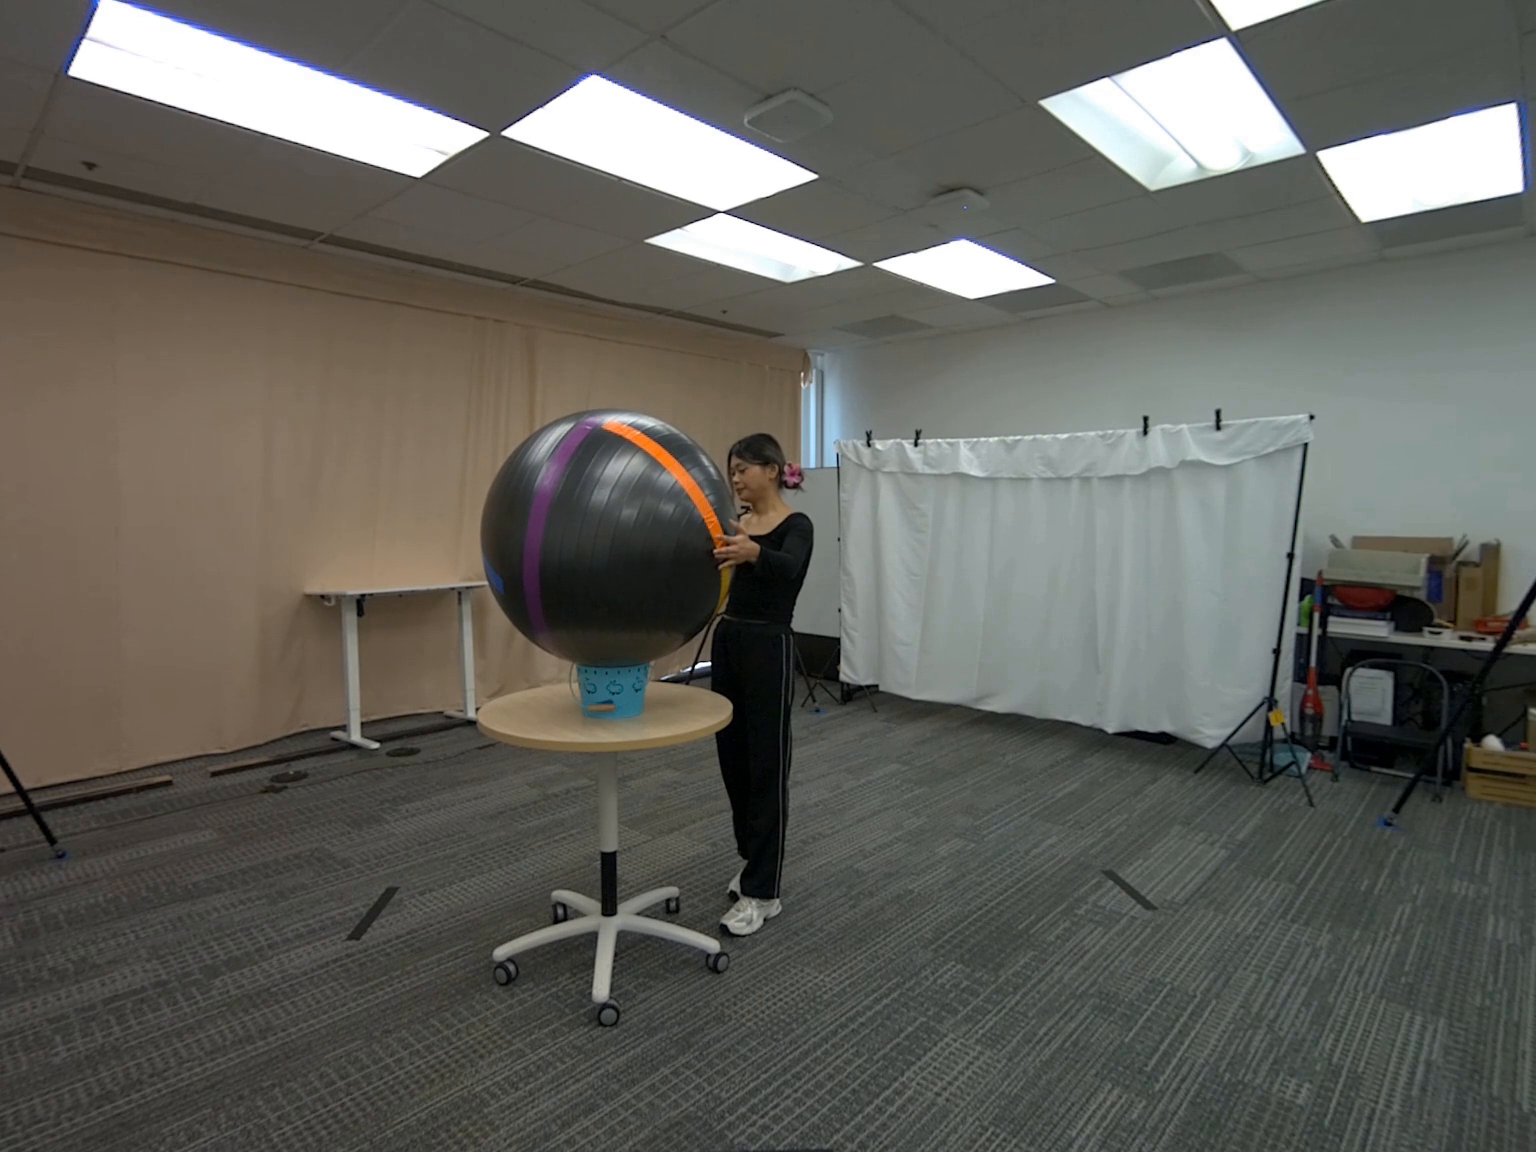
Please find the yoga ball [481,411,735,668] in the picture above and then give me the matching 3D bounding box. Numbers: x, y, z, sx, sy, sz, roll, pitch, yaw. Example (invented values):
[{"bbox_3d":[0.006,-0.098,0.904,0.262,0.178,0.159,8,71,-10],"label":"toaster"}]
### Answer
[{"bbox_3d":[-0.467,-0.104,2.485,0.757,0.756,0.760,0,4,-2],"label":"yoga ball"}]
